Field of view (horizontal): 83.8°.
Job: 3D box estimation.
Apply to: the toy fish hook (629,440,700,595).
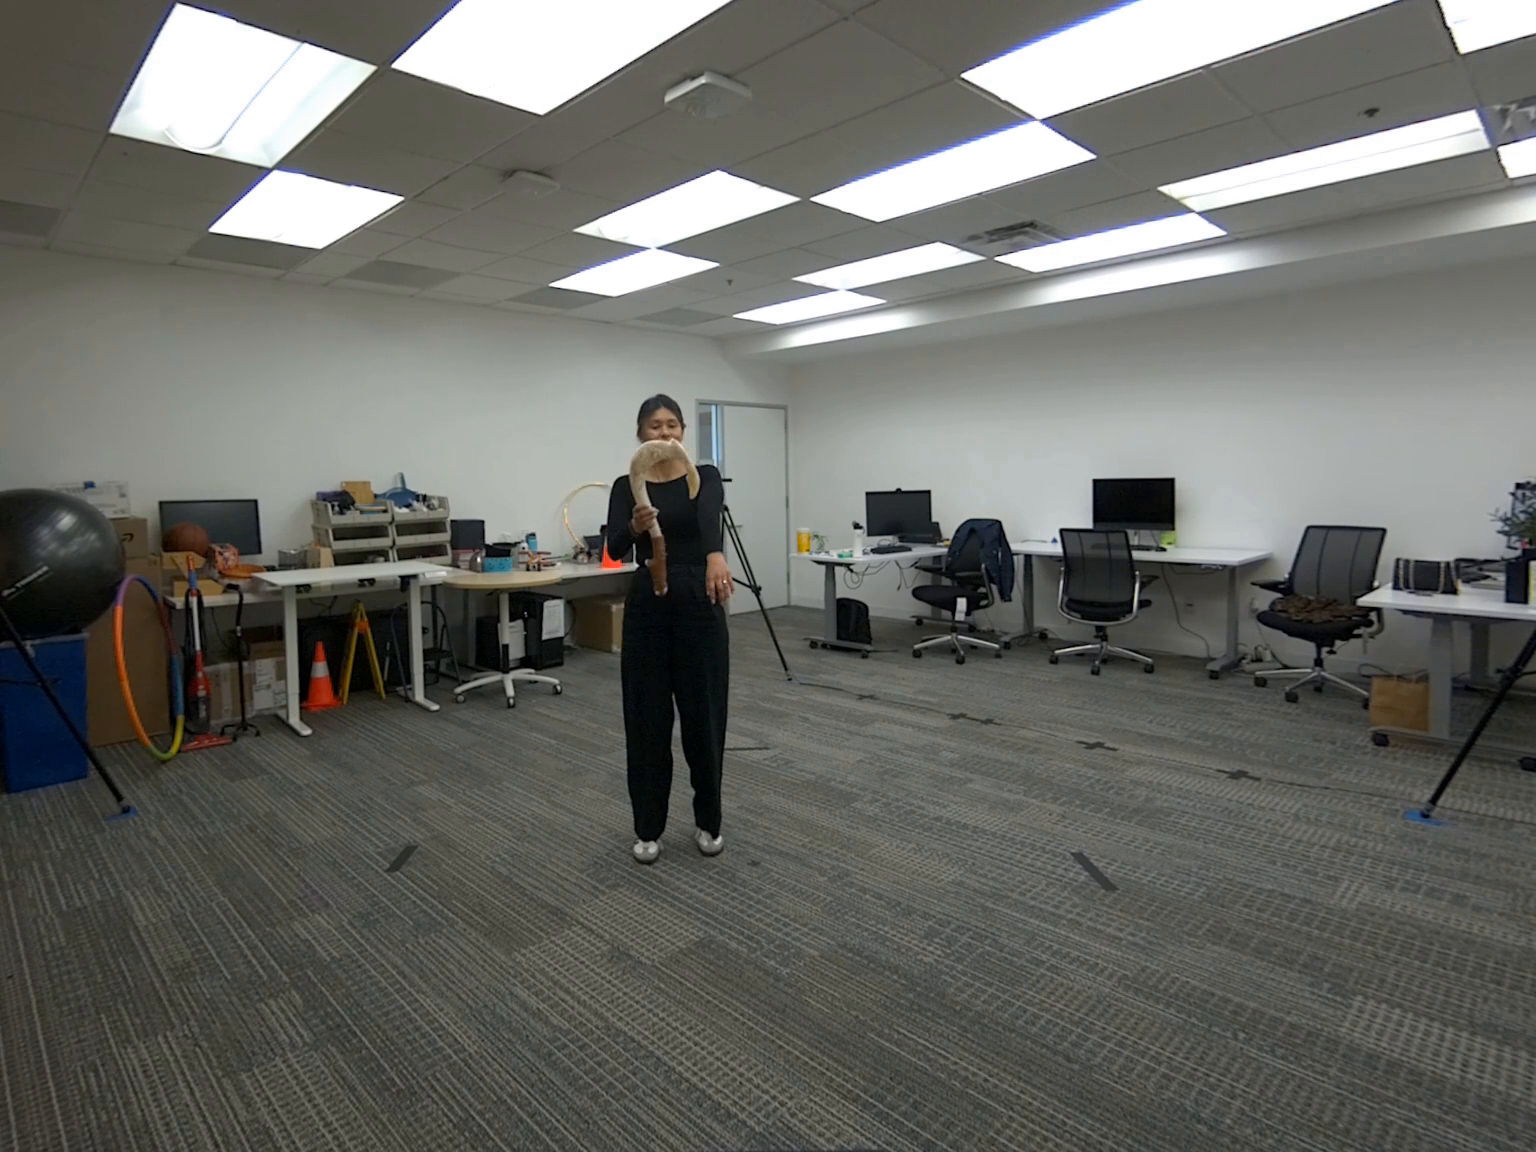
[{"bbox_3d":[-0.329,-0.172,2.769,0.227,0.501,0.048,-2,10,12],"label":"toy fish hook"}]
